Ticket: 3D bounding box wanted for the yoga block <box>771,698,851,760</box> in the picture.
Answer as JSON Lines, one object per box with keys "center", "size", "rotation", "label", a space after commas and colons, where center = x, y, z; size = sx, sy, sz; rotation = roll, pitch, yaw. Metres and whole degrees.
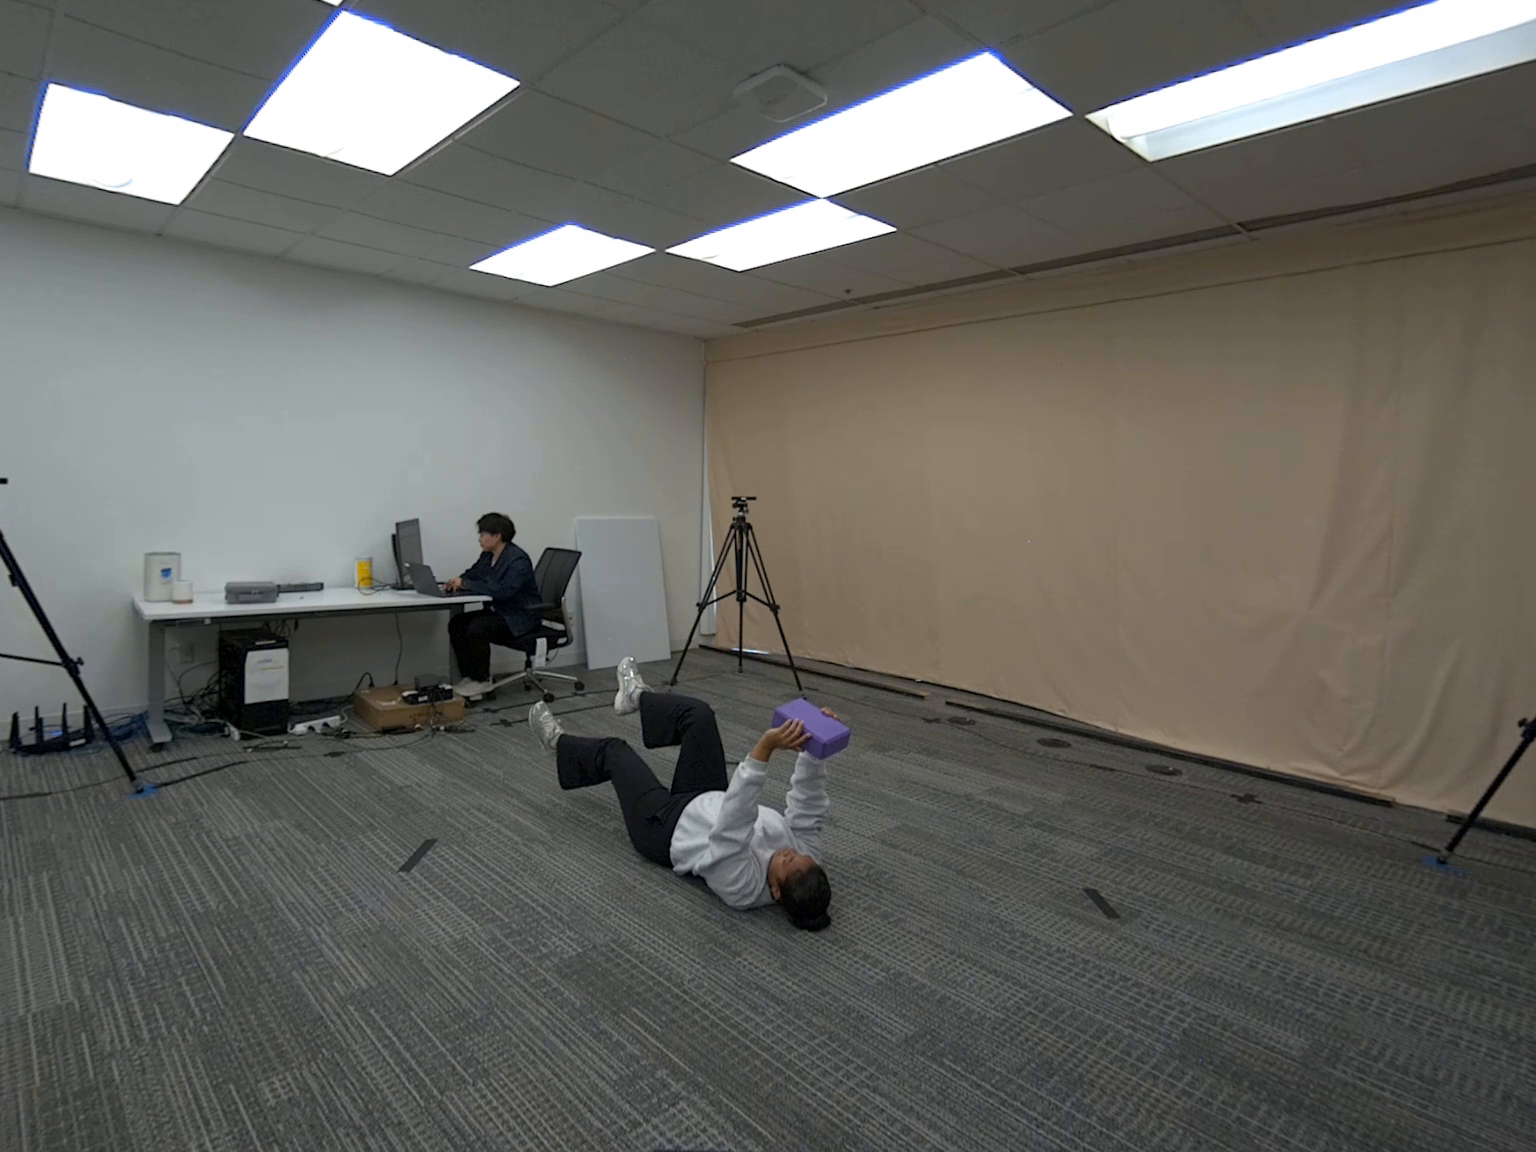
{"center": [0.144, 0.510, 2.796], "size": [0.236, 0.075, 0.146], "rotation": [25, 26, 34], "label": "yoga block"}
